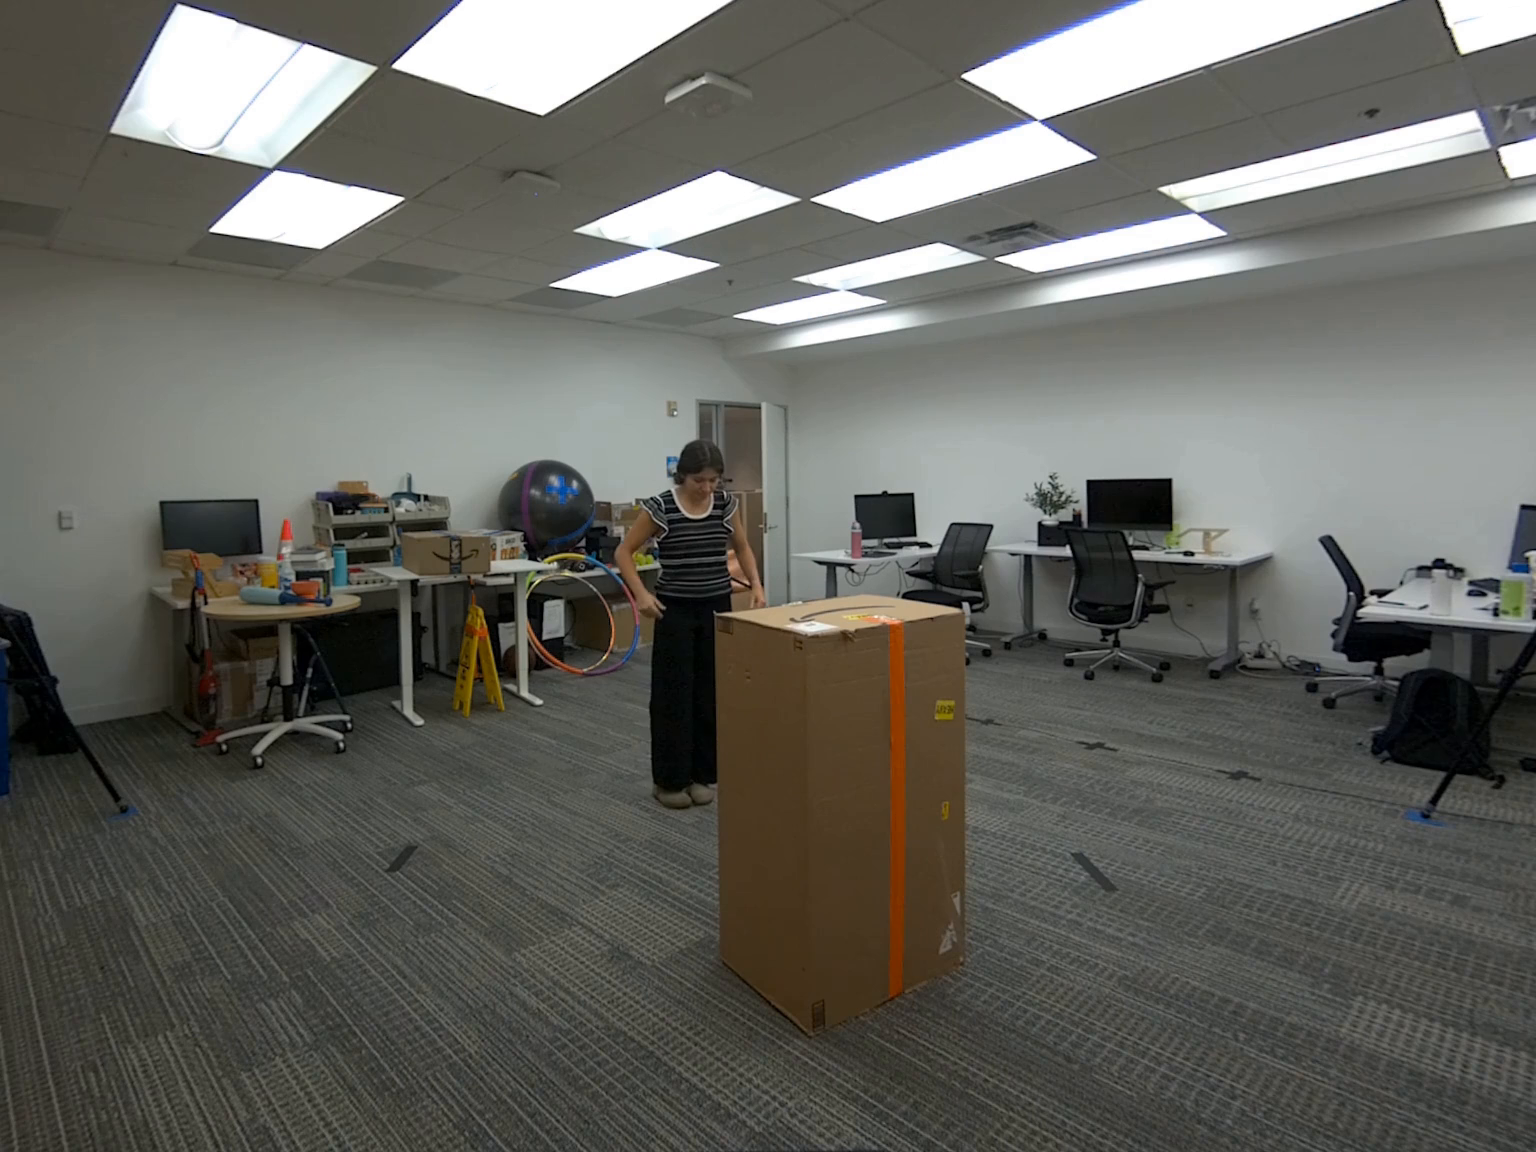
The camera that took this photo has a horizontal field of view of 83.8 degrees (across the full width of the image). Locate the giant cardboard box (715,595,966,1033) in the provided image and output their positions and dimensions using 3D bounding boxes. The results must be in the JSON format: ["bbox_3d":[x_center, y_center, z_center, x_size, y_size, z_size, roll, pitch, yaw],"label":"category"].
[{"bbox_3d":[0.213,0.610,2.433,0.563,1.022,0.439,-4,5,-36],"label":"giant cardboard box"}]
